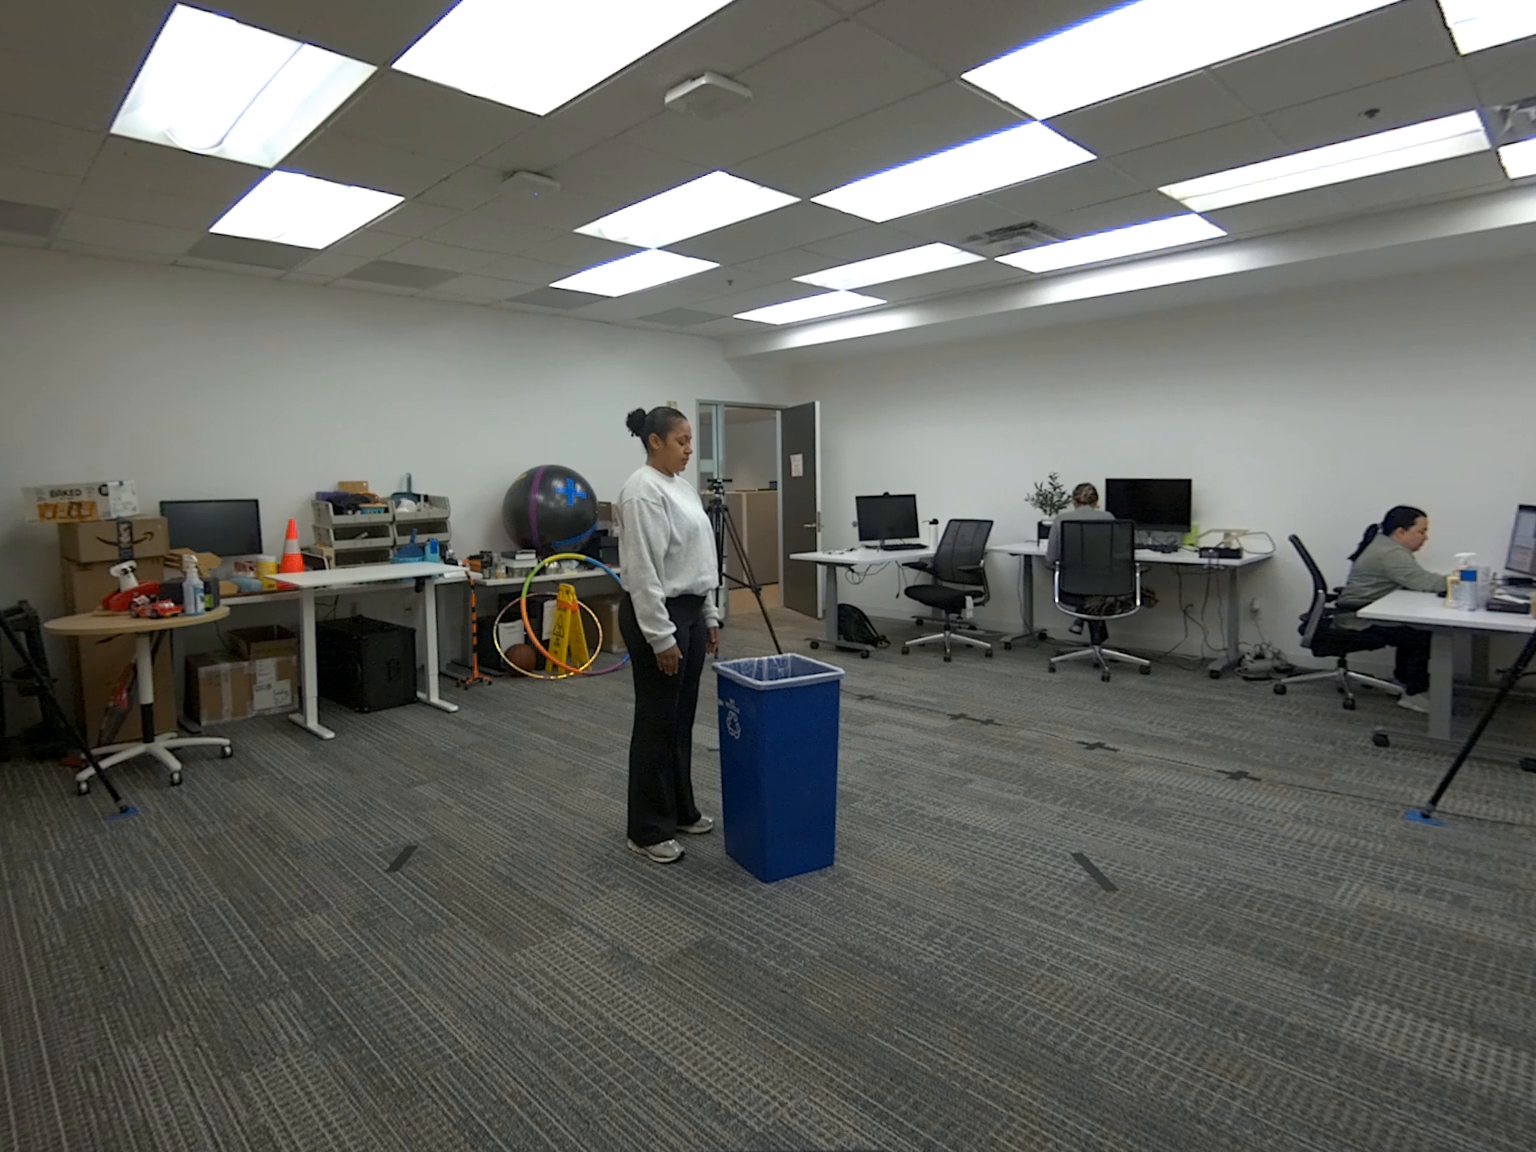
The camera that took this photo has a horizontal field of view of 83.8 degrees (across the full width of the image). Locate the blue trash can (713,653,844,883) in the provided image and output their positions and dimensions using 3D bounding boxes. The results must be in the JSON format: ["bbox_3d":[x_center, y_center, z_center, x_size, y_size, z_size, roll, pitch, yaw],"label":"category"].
[{"bbox_3d":[0.034,0.687,3.110,0.365,0.711,0.389,-2,5,-32],"label":"blue trash can"}]
